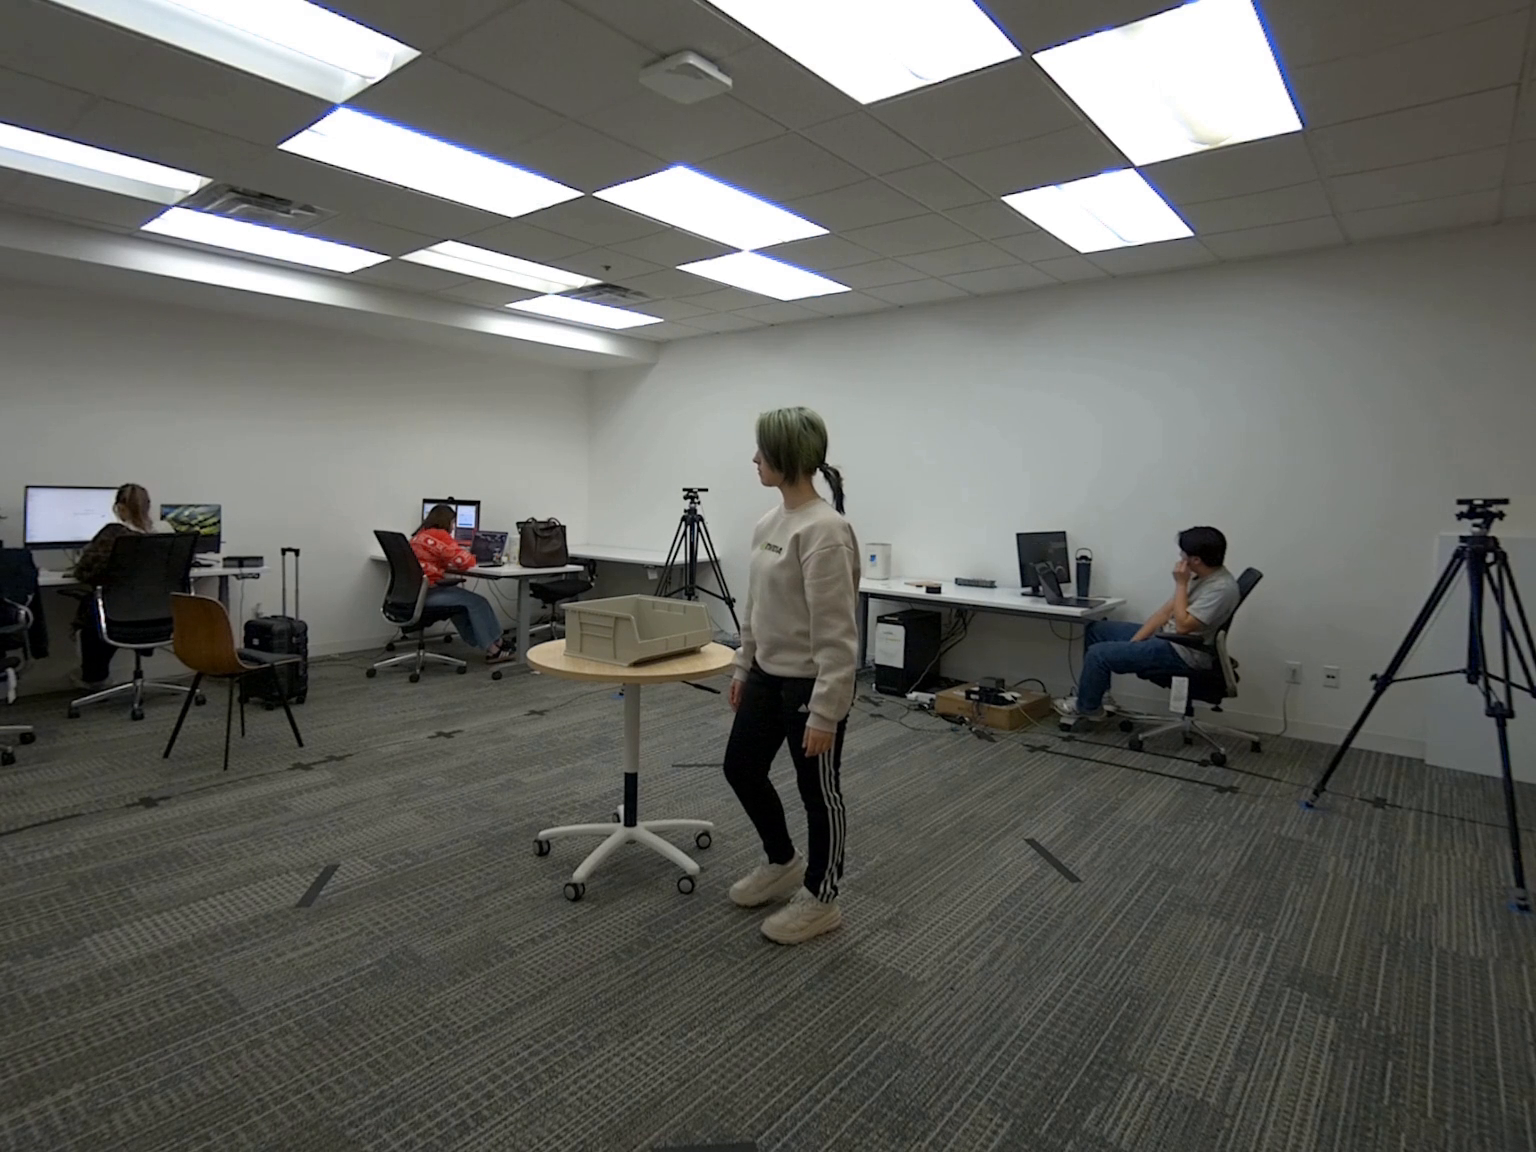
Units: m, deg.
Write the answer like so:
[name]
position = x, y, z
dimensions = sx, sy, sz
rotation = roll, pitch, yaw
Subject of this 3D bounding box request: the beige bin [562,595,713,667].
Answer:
[beige bin]
position = -0.484, 0.193, 3.101
dimensions = 0.389, 0.188, 0.411
rotation = 3, 6, 34
